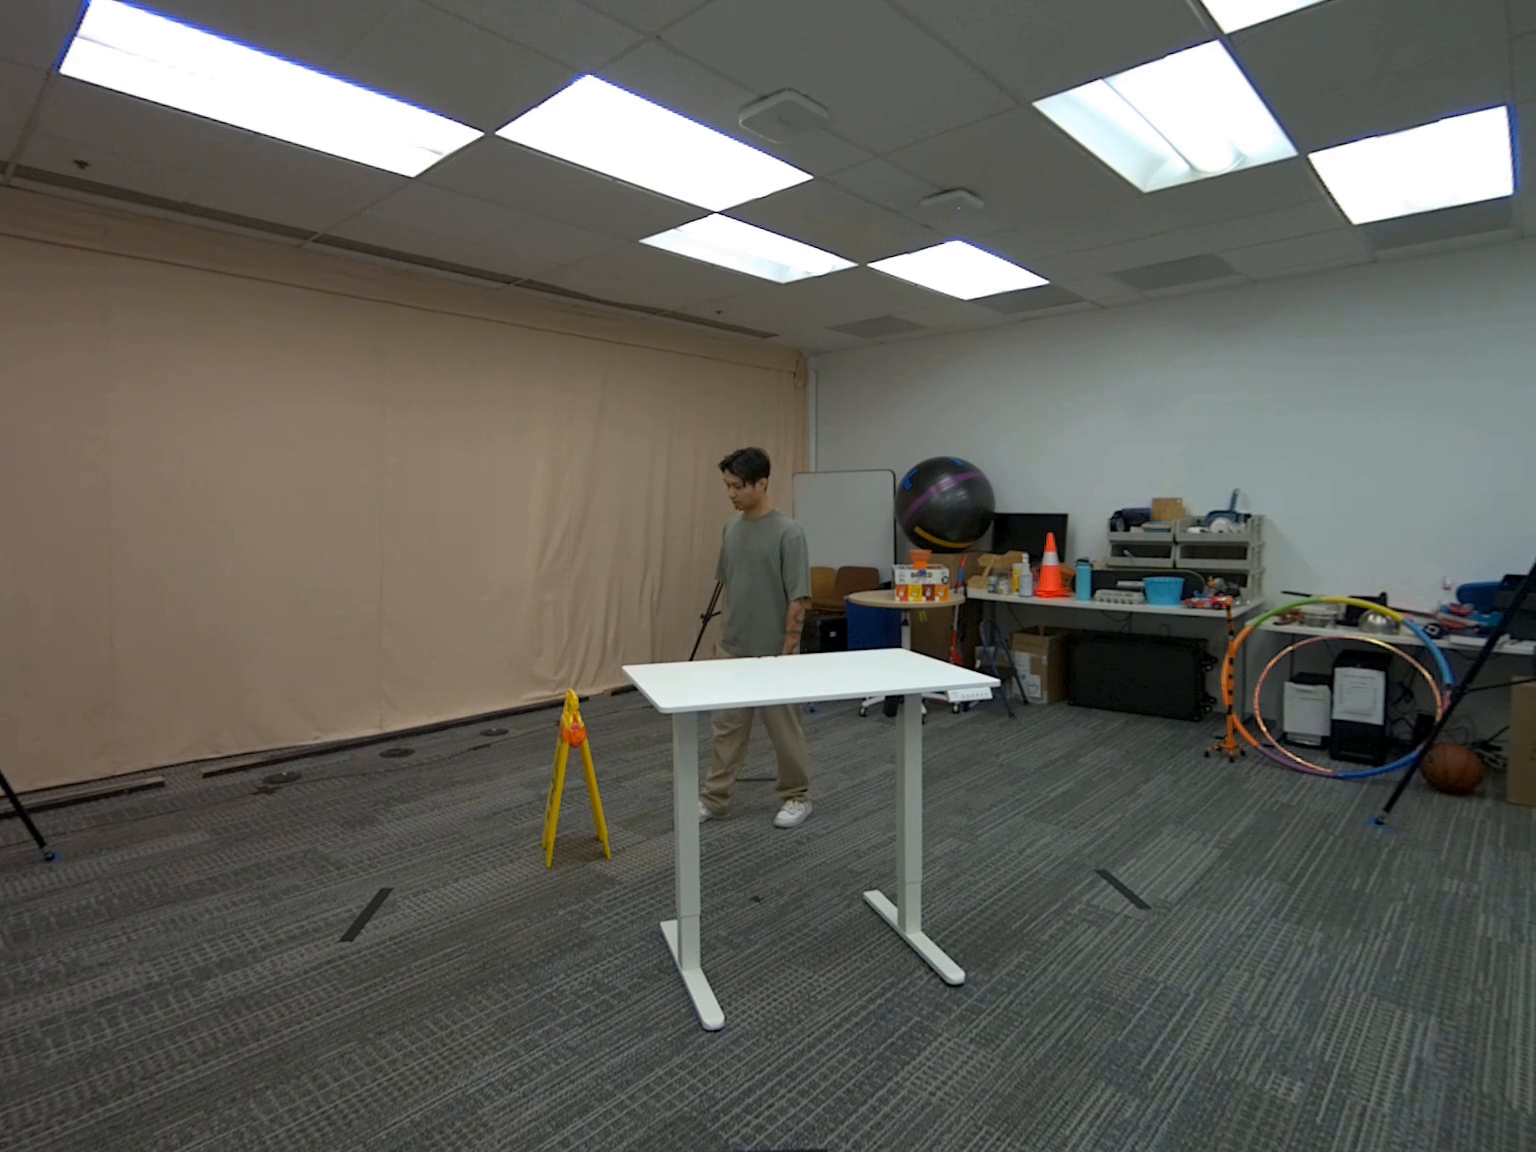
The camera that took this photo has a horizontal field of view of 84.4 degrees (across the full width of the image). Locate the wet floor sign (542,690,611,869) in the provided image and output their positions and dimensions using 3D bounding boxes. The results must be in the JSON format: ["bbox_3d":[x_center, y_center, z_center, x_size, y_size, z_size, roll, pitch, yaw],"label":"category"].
[{"bbox_3d":[-0.788,0.790,3.395,0.285,0.645,0.288,-2,3,-18],"label":"wet floor sign"}]
